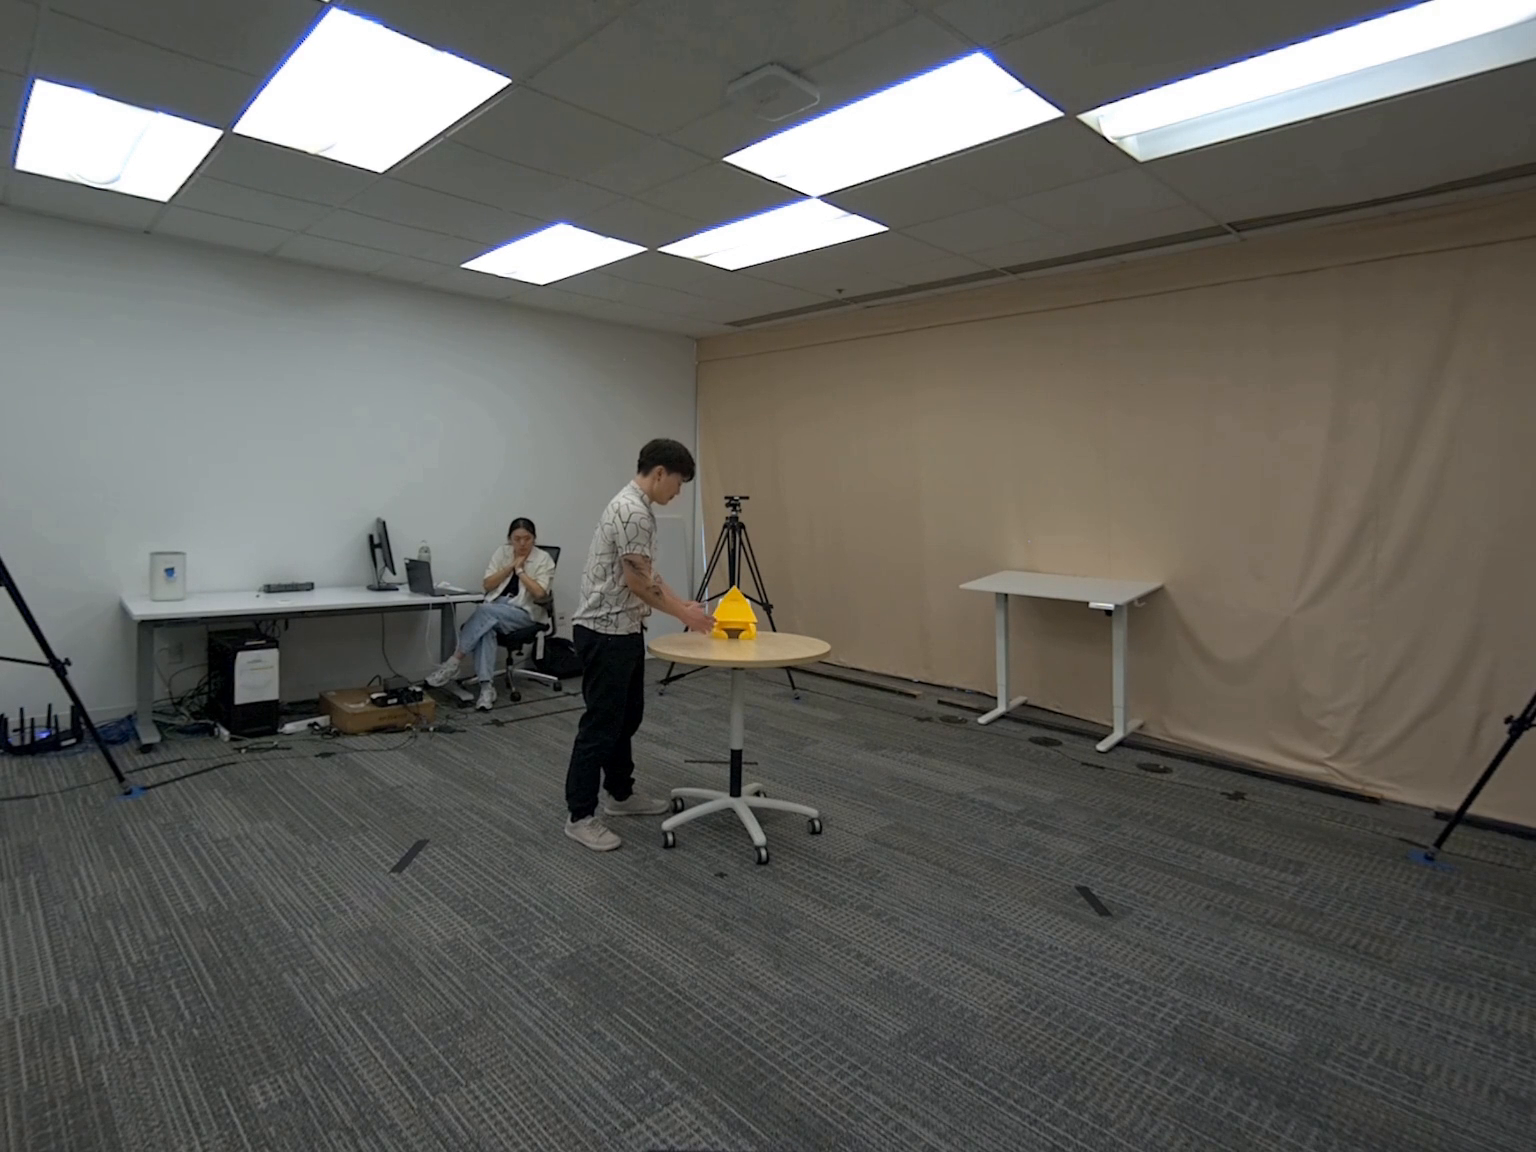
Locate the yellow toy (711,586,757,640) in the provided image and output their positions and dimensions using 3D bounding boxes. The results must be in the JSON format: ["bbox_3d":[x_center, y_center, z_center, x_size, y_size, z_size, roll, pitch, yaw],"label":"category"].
[{"bbox_3d":[-0.166,0.149,3.720,0.204,0.230,0.194,1,6,-3],"label":"yellow toy"}]
